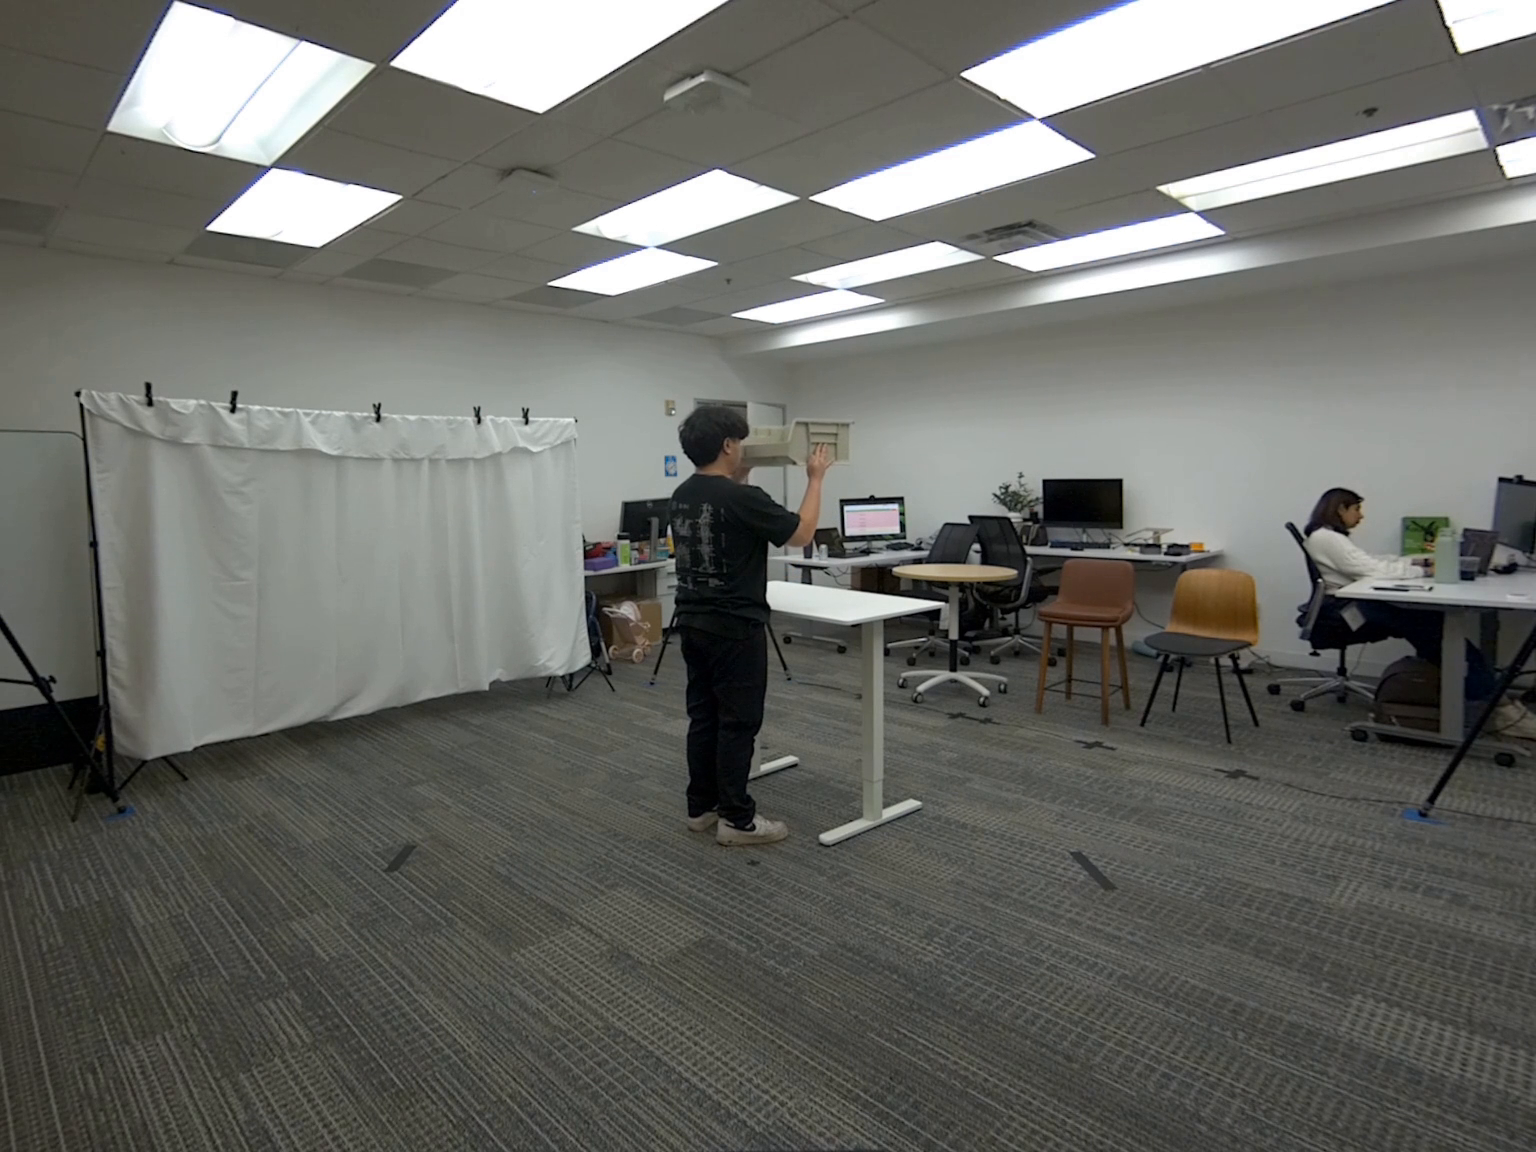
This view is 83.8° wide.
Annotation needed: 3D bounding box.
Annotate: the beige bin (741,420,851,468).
[{"bbox_3d":[0.078,-0.542,3.539,0.367,0.188,0.435,-6,8,-42],"label":"beige bin"}]
